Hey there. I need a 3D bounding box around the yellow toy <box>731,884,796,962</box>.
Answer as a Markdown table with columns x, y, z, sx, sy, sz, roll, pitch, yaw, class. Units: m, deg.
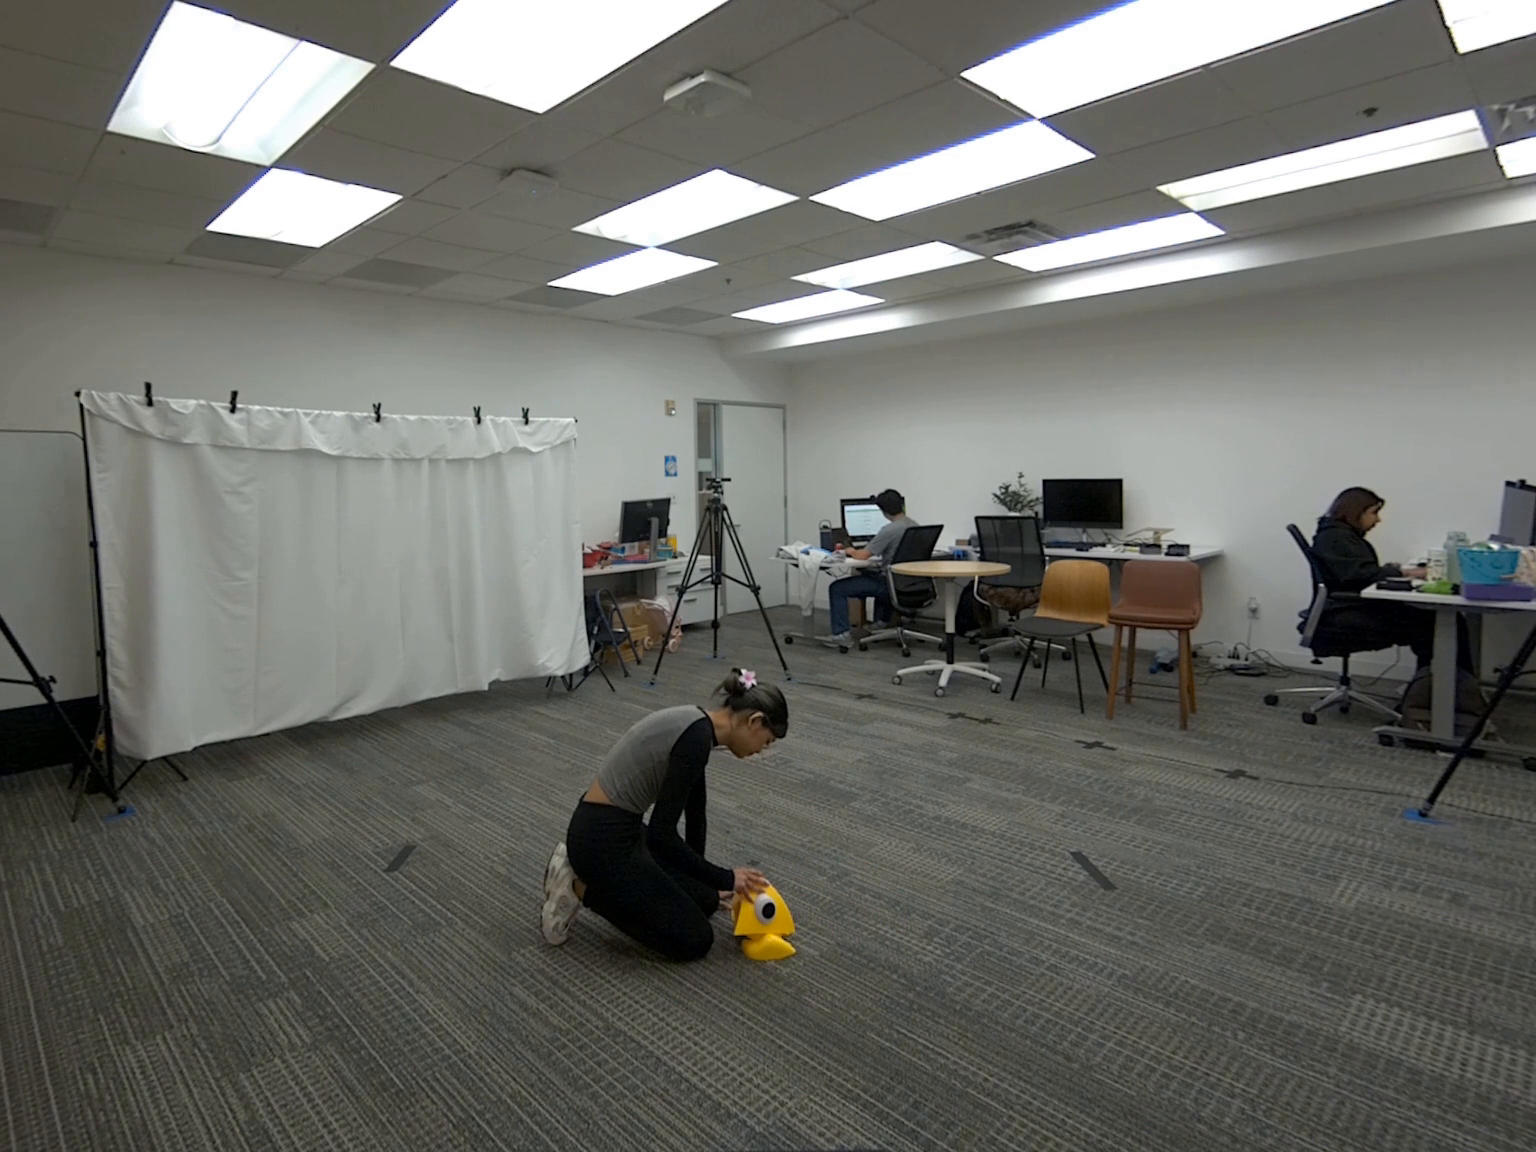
| x | y | z | sx | sy | sz | roll | pitch | yaw | class |
| --- | --- | --- | --- | --- | --- | --- | --- | --- | --- |
| -0.014 | 0.984 | 2.575 | 0.193 | 0.230 | 0.206 | -1 | 5 | -2 | yellow toy |
